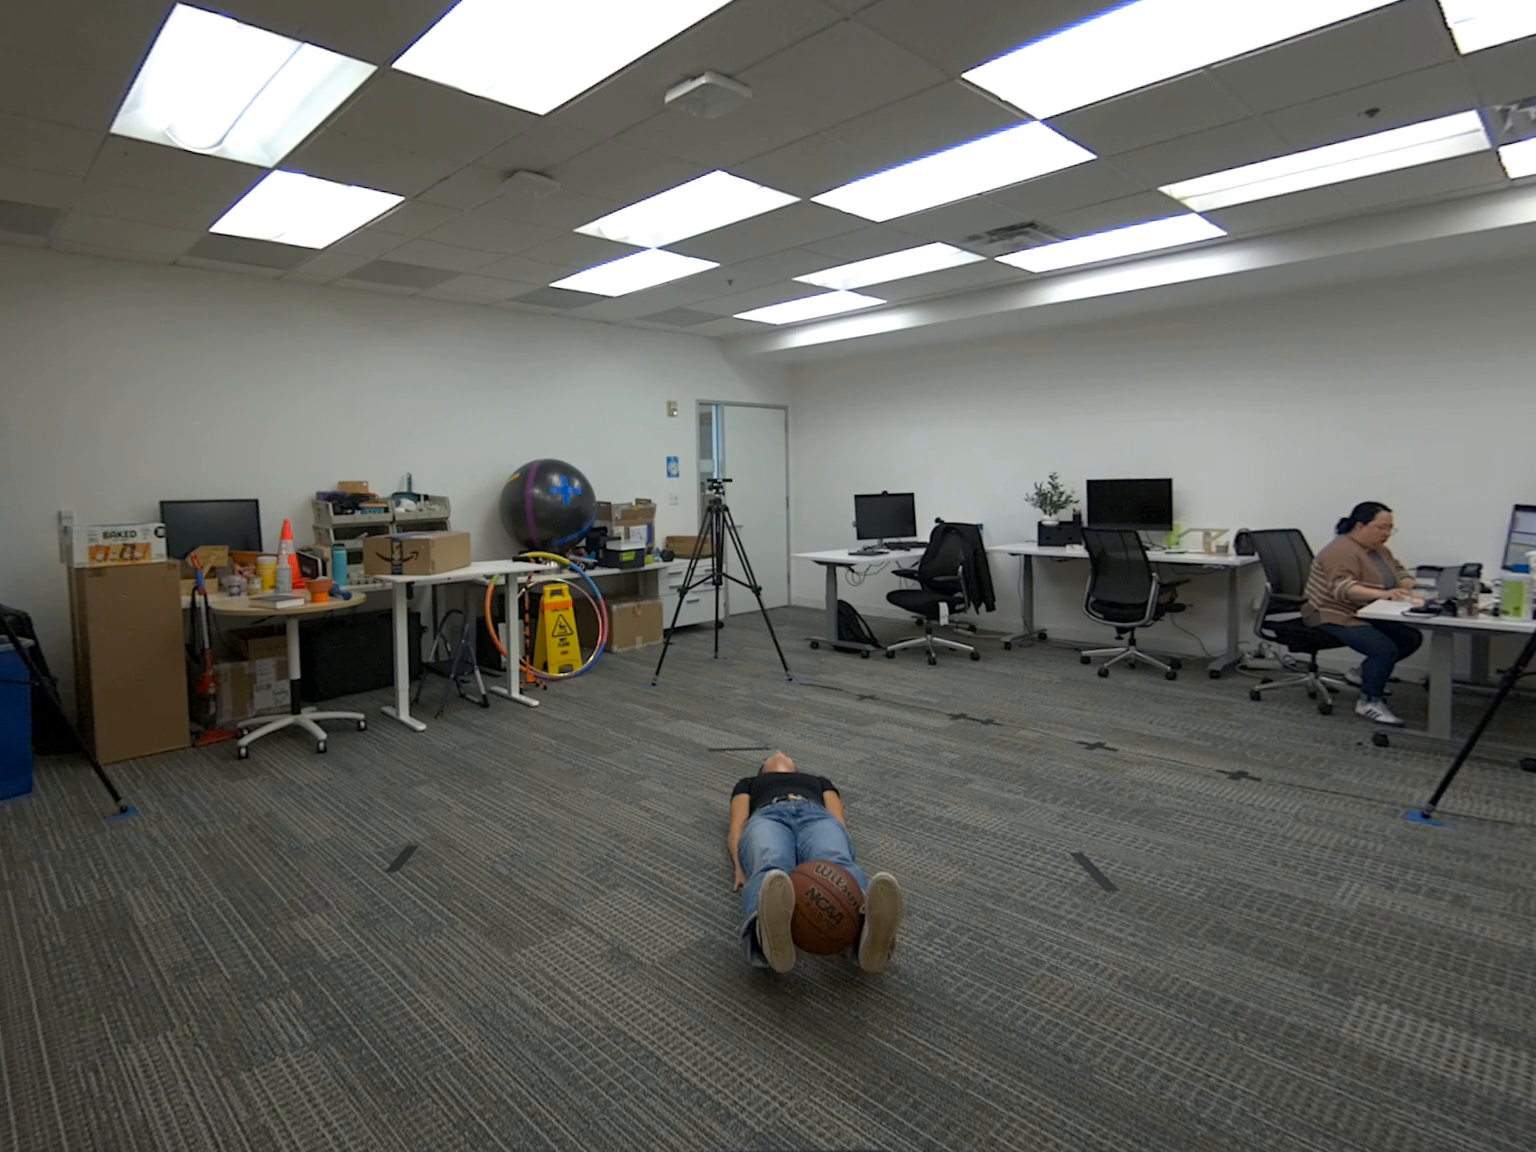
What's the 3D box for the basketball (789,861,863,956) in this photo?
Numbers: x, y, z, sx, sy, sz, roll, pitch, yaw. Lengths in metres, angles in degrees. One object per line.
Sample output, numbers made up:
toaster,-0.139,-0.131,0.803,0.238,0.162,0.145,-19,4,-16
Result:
basketball,0.151,0.891,2.323,0.236,0.235,0.237,-1,5,-2
